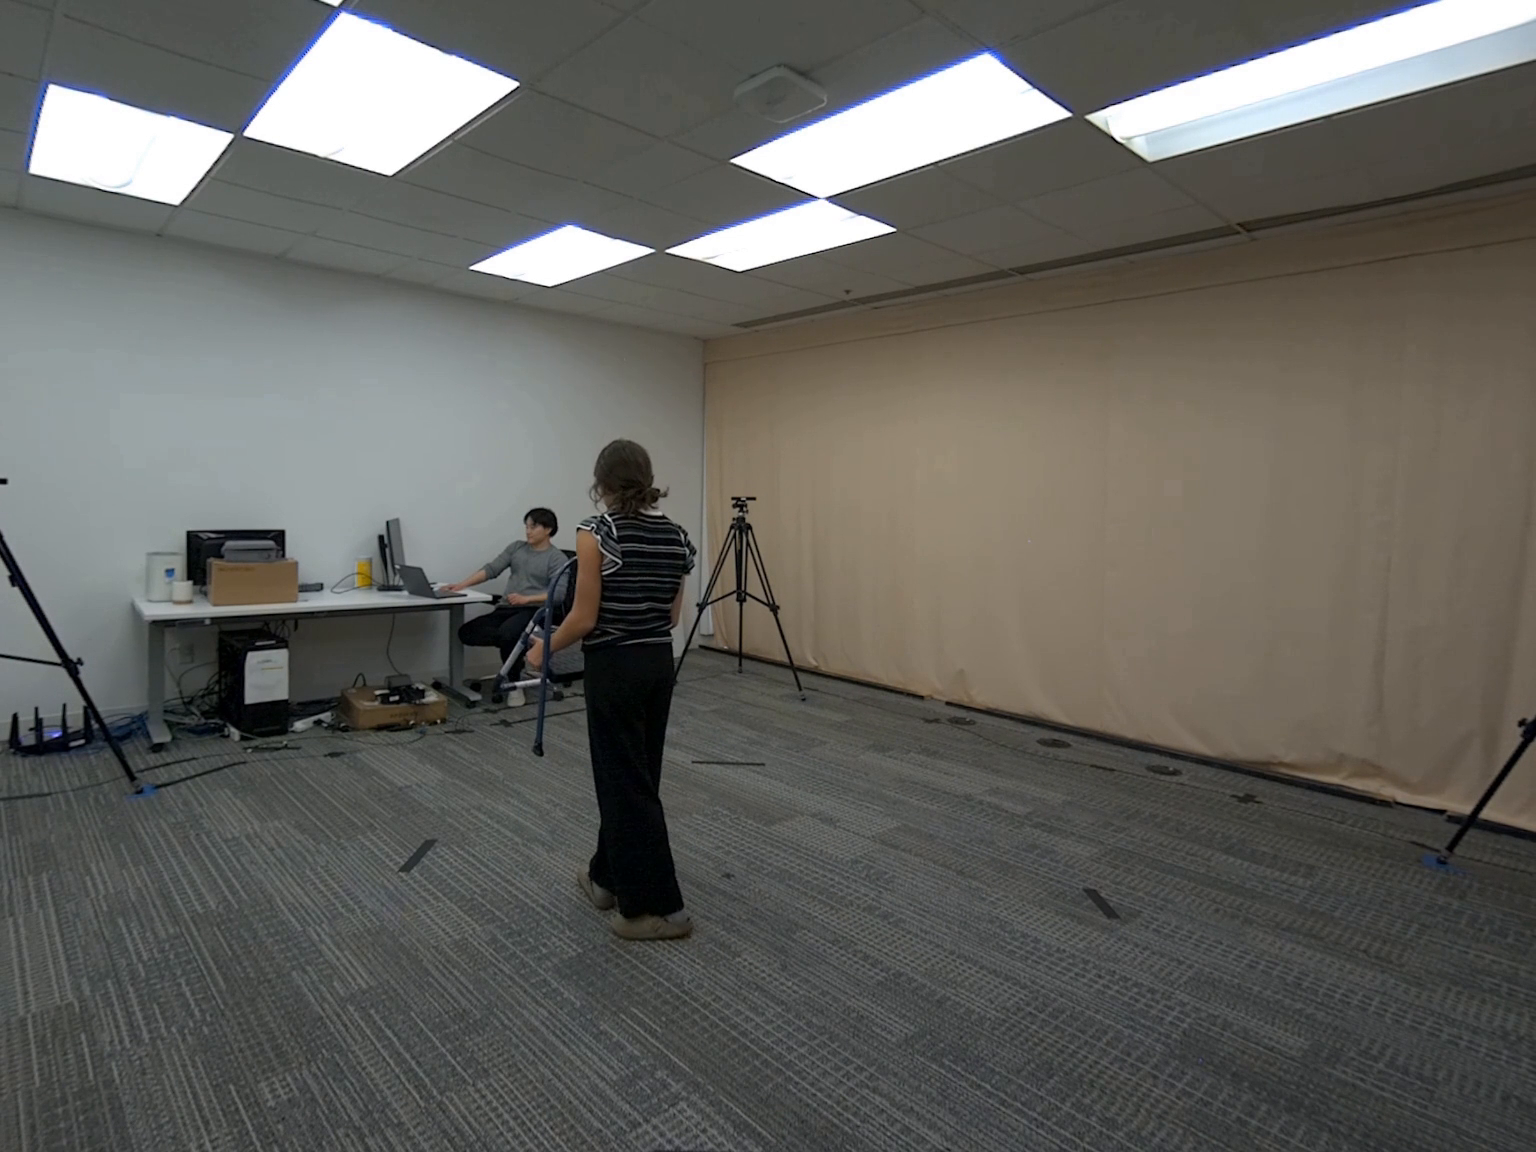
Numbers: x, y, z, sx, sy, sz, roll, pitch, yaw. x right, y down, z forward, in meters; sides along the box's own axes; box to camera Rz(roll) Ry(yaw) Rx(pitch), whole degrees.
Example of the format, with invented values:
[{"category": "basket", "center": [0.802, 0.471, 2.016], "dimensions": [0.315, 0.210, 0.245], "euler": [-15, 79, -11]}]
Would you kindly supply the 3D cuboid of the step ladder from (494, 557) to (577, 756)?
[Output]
[{"category": "step ladder", "center": [-0.615, 0.221, 2.880], "dimensions": [0.360, 0.601, 0.421], "euler": [38, 26, 33]}]
